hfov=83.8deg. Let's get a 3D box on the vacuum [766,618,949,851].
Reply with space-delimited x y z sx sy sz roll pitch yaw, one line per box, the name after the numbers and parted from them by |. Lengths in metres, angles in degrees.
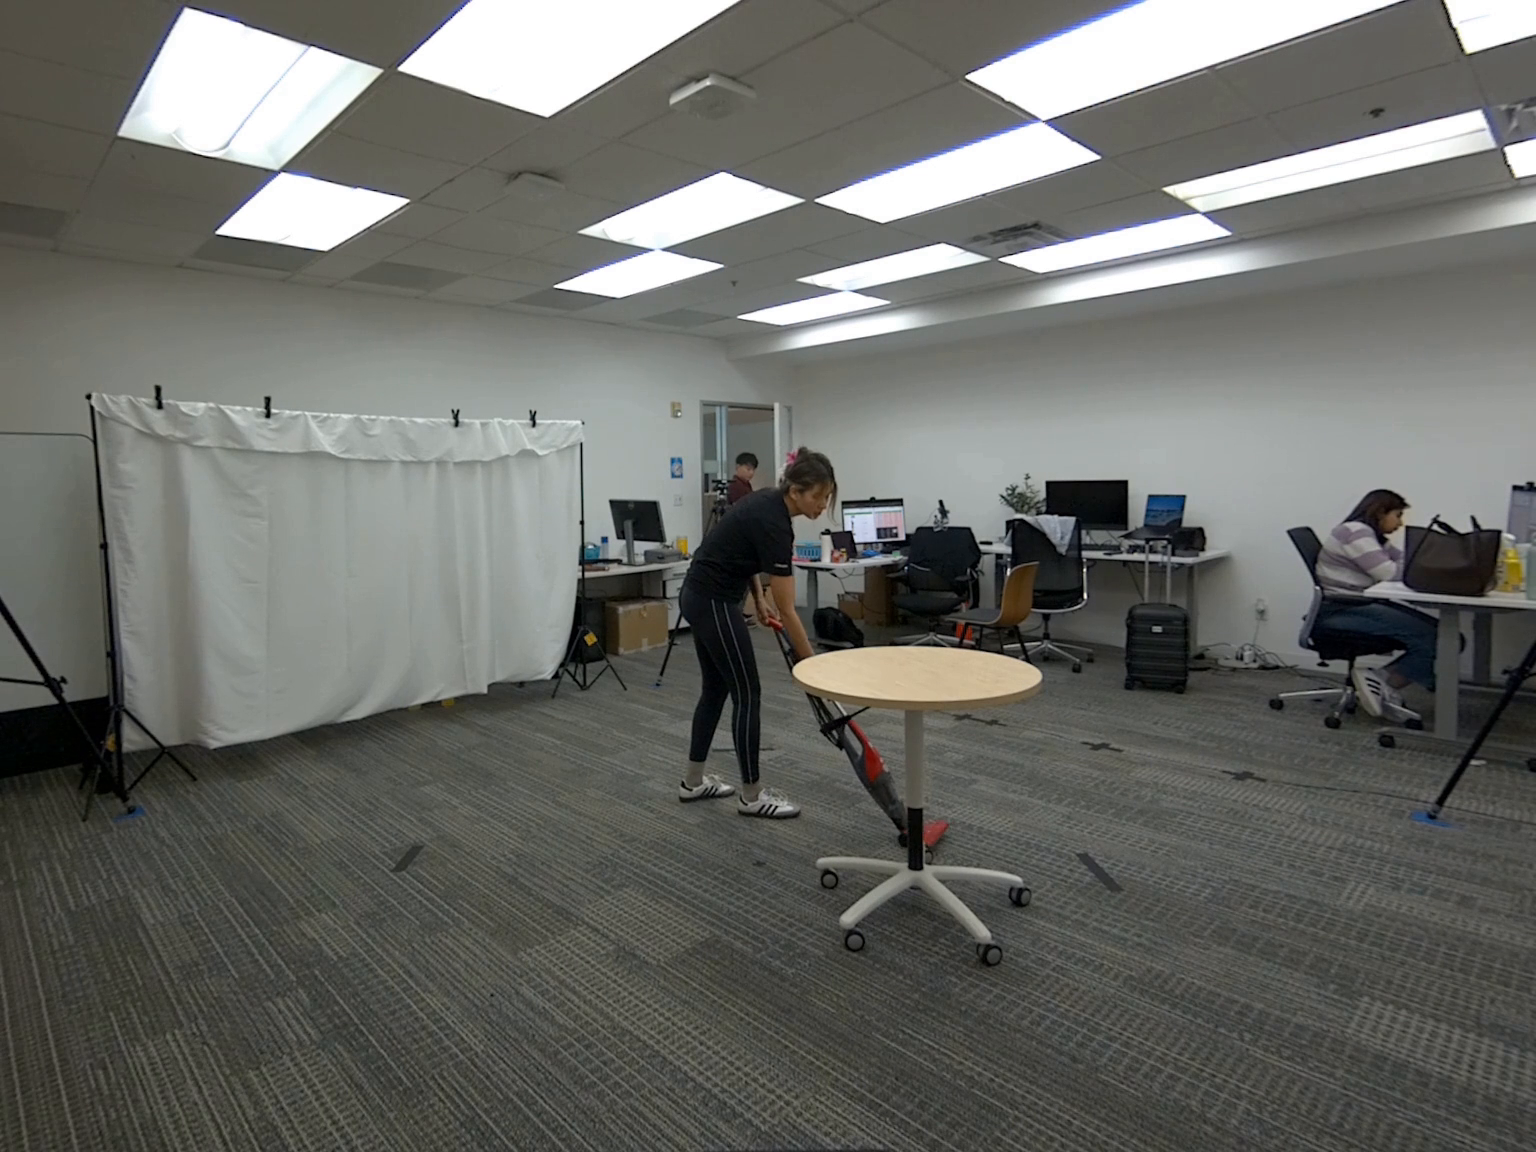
0.295 0.595 3.409 0.144 1.072 0.247 -44 -18 25 | vacuum
